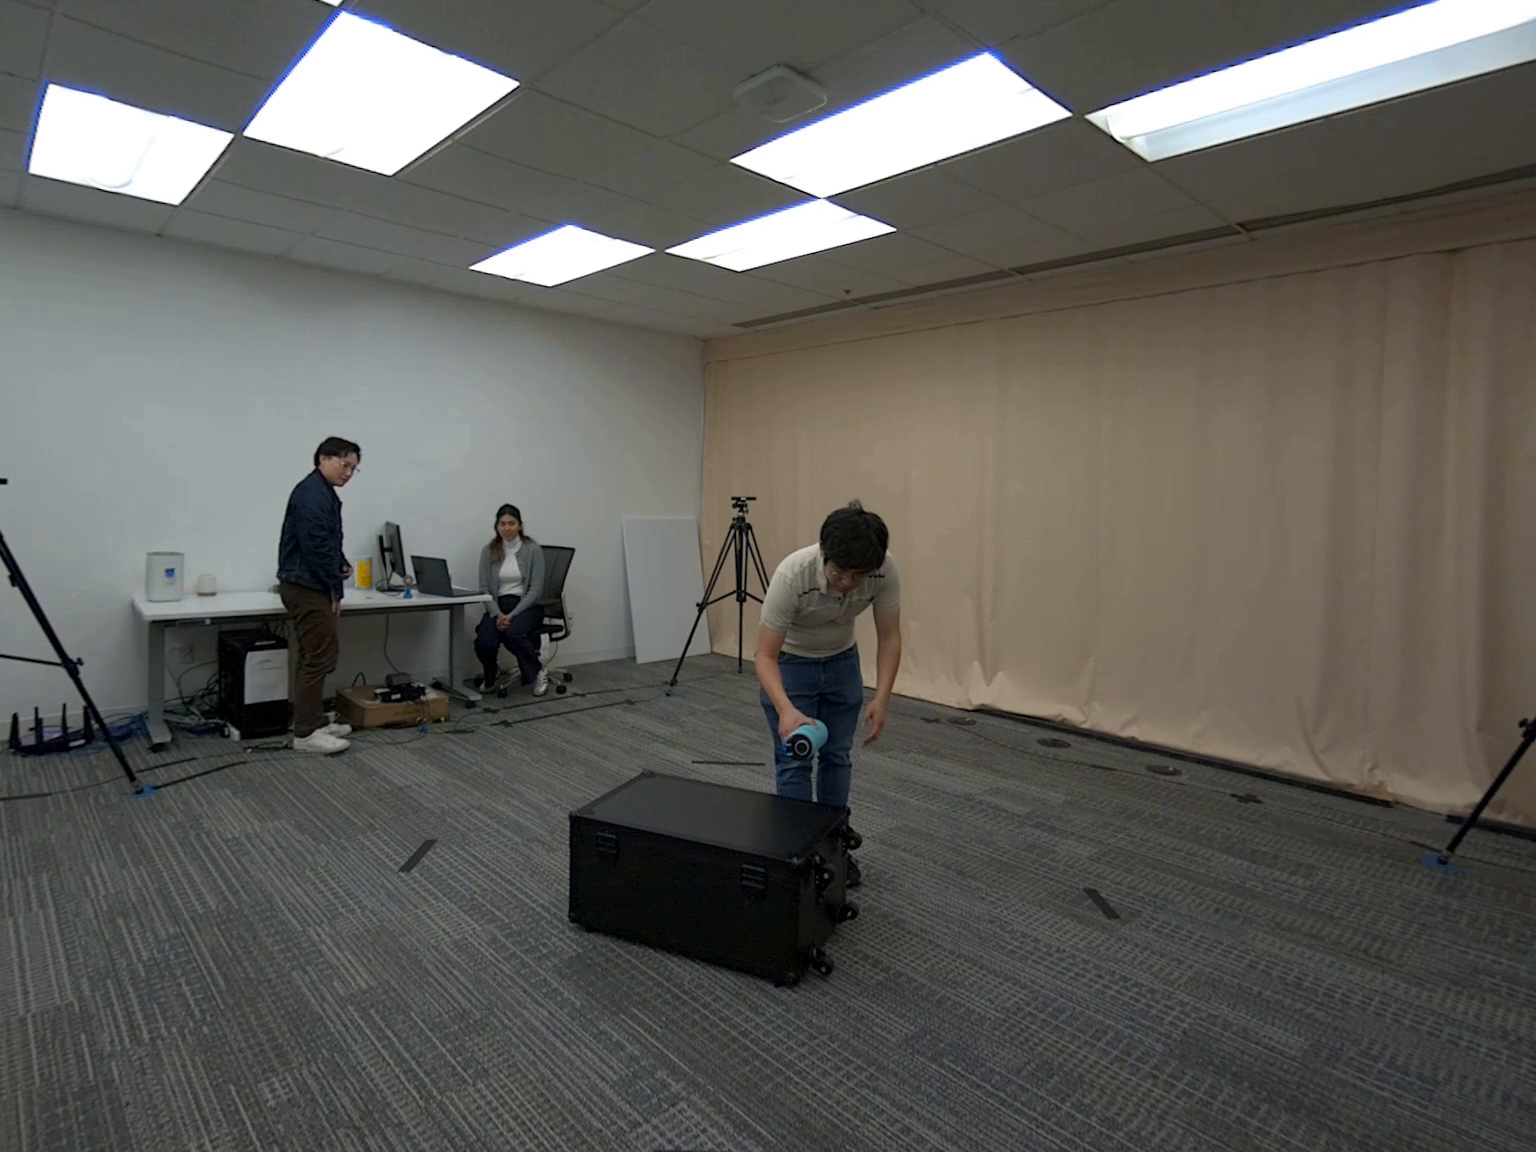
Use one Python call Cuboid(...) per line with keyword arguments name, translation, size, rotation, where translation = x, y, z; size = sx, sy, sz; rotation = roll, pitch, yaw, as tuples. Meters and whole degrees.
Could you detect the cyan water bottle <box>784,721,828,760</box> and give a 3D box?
Cuboid(name="cyan water bottle", translation=(0.107, 0.507, 2.576), size=(0.093, 0.092, 0.279), rotation=(3, 1, 15))
